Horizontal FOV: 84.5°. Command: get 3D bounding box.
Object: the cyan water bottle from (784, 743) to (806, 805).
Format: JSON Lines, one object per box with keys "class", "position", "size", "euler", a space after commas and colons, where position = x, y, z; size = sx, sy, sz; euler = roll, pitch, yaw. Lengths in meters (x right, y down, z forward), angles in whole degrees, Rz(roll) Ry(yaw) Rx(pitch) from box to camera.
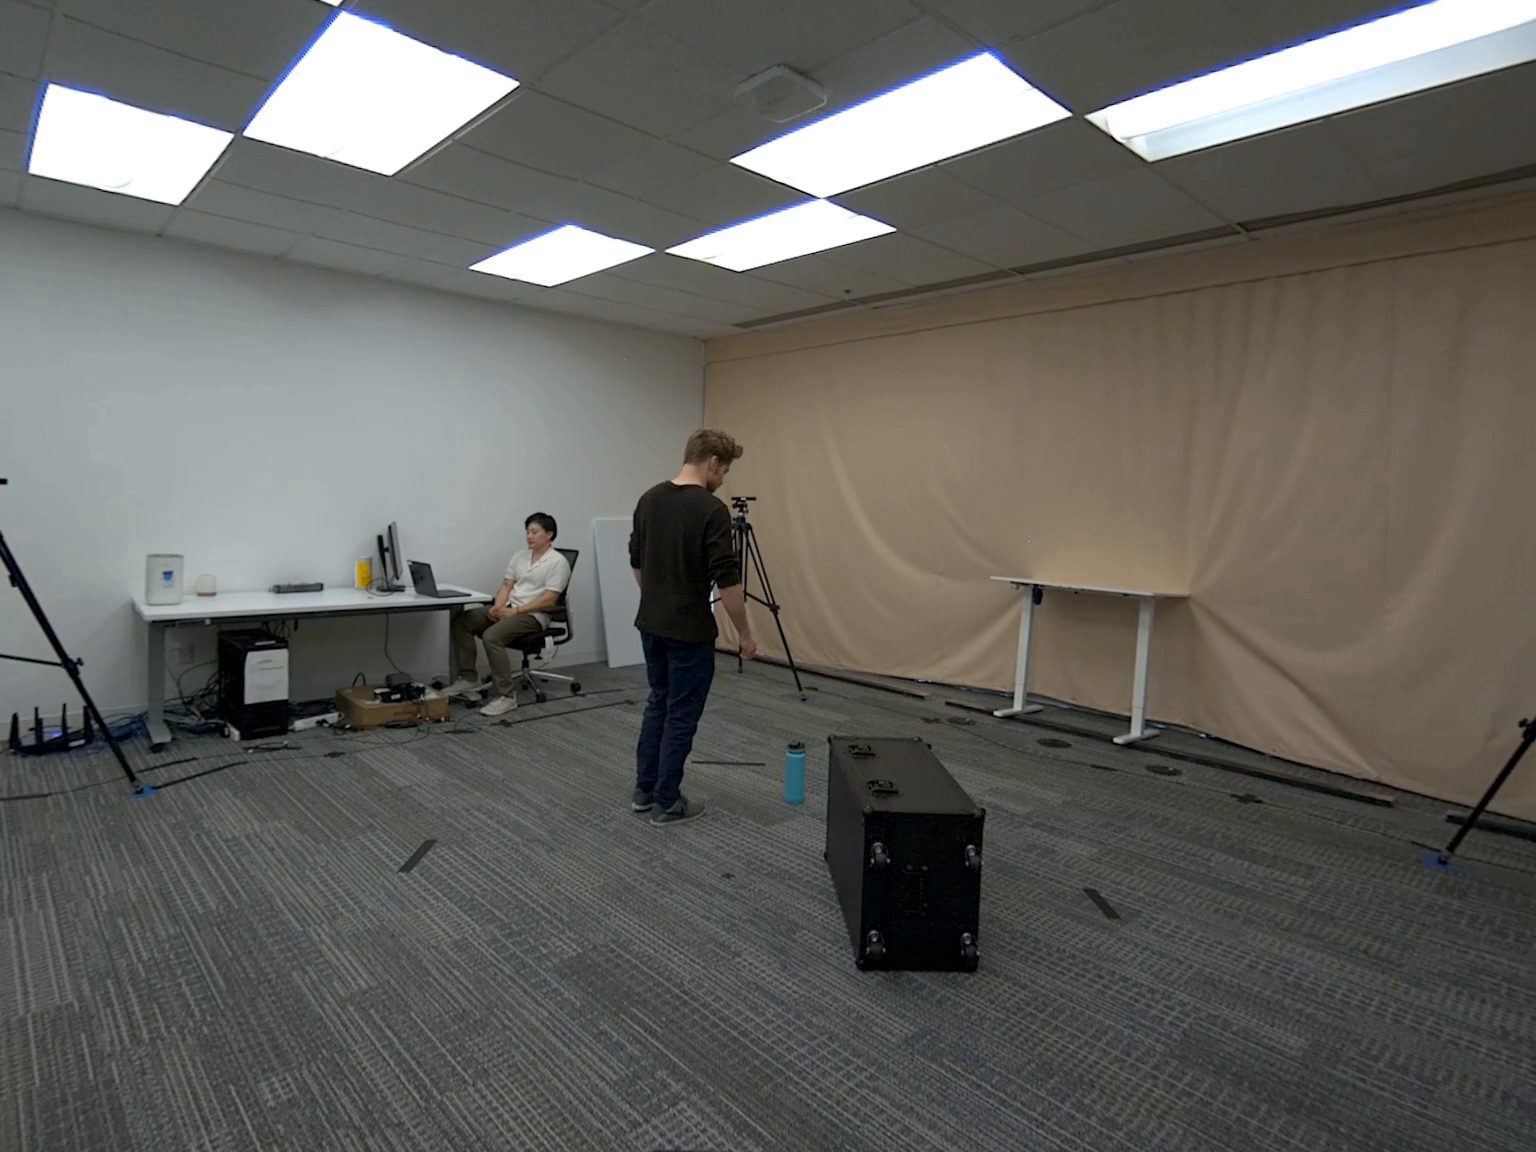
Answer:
{"class": "cyan water bottle", "position": [0.115, 0.903, 3.924], "size": [0.092, 0.283, 0.092], "euler": [3, 2, -2]}
